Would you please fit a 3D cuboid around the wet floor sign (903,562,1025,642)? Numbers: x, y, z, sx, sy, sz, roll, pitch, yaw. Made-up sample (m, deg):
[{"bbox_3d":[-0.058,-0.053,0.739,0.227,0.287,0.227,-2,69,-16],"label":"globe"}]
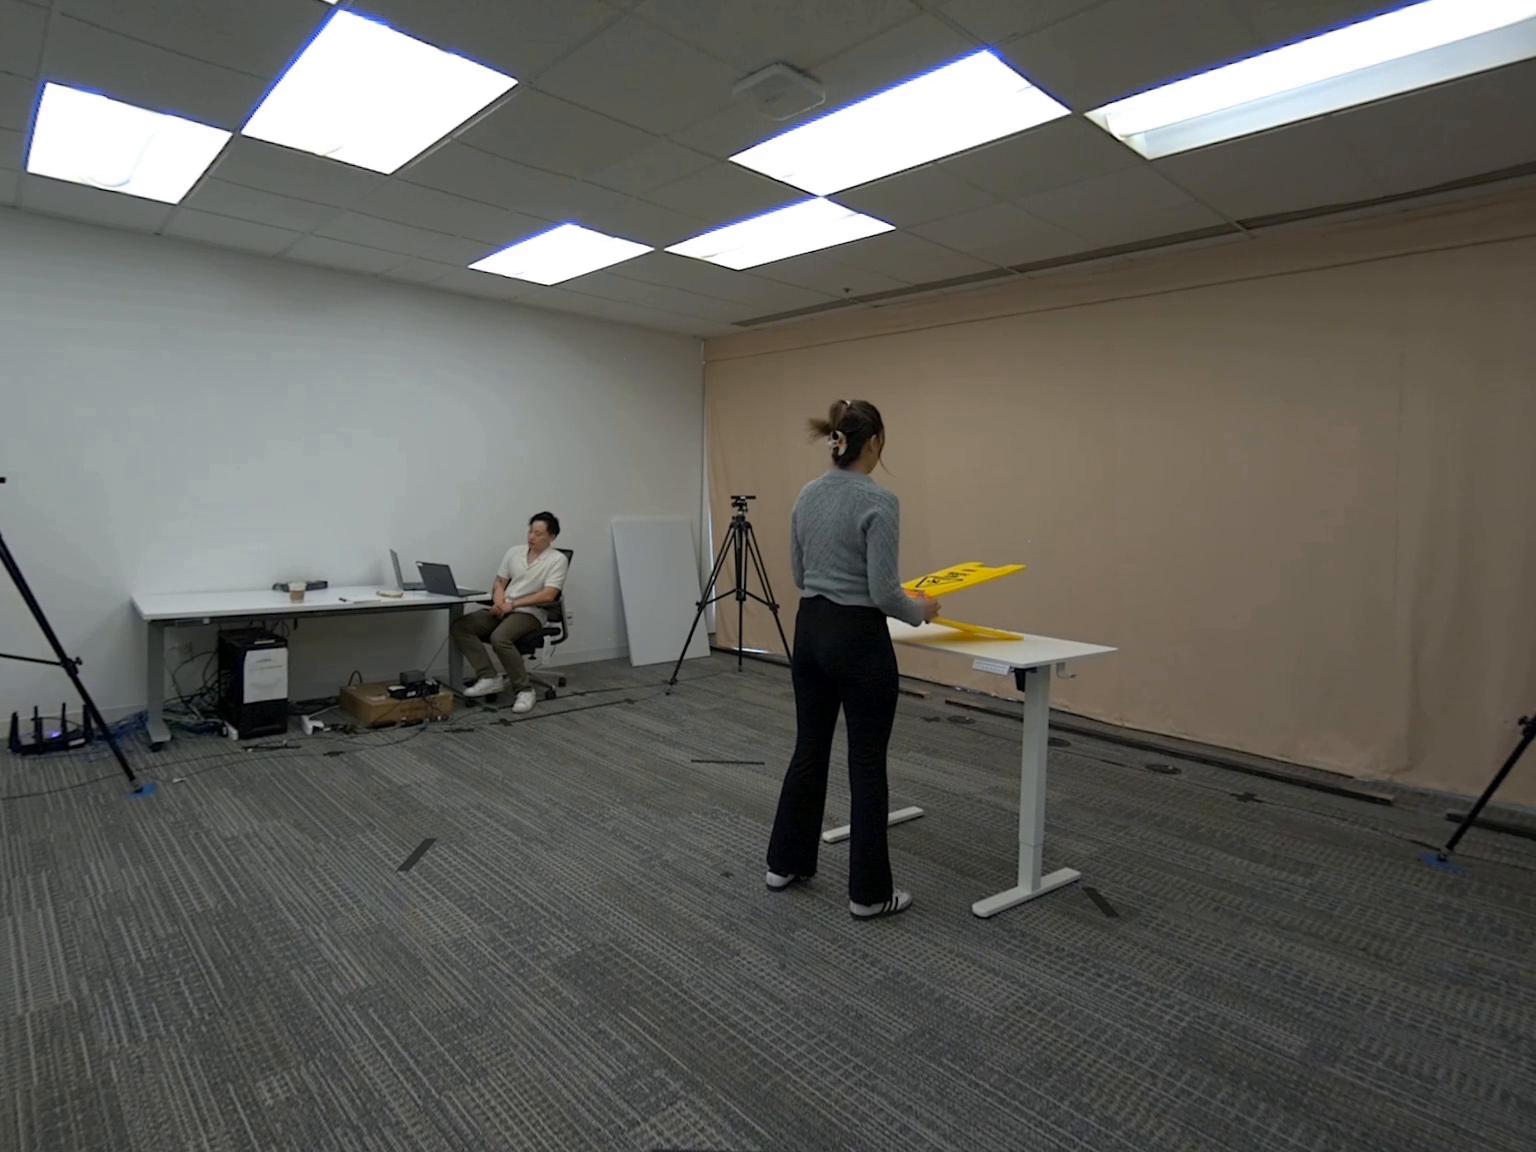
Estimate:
[{"bbox_3d":[0.631,0.098,3.125,0.632,0.289,0.289,-1,3,-34],"label":"wet floor sign"}]
